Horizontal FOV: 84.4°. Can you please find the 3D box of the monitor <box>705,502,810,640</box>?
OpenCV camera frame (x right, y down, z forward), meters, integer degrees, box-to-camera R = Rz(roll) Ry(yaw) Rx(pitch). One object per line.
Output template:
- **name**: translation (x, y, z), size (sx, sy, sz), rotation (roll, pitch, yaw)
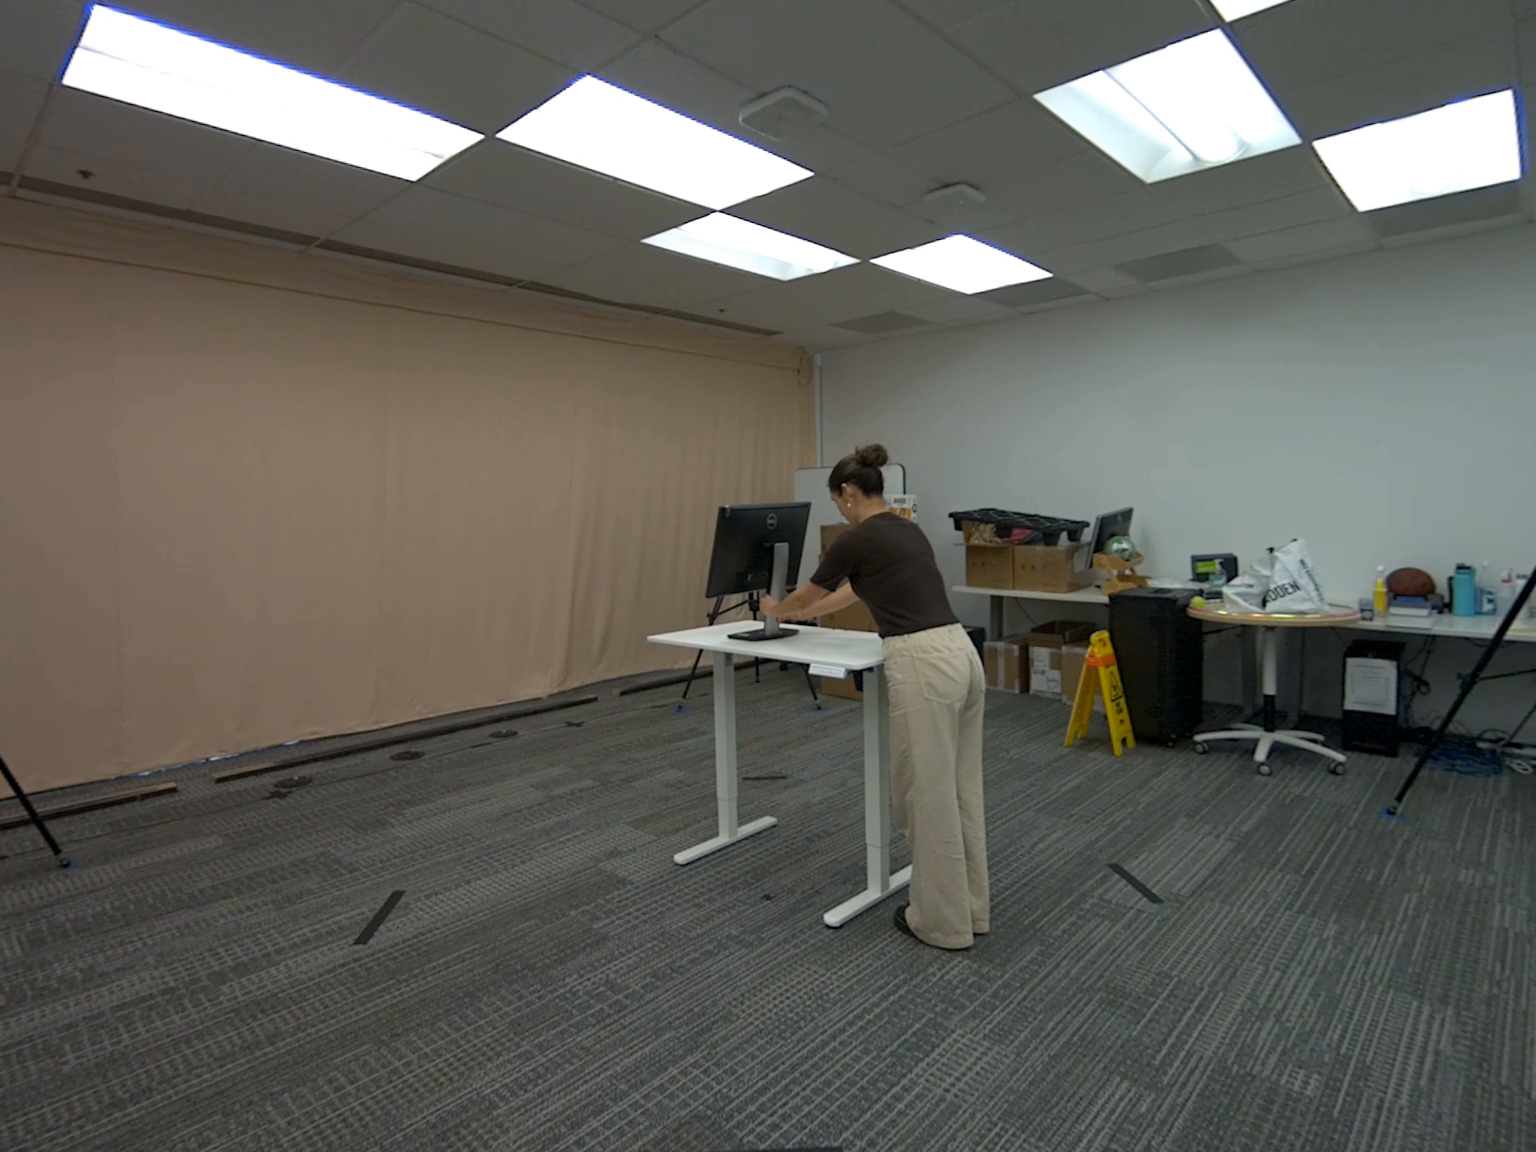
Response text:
- **monitor**: translation (-0.002, -0.021, 3.261), size (0.180, 0.515, 0.514), rotation (-2, 3, 41)
